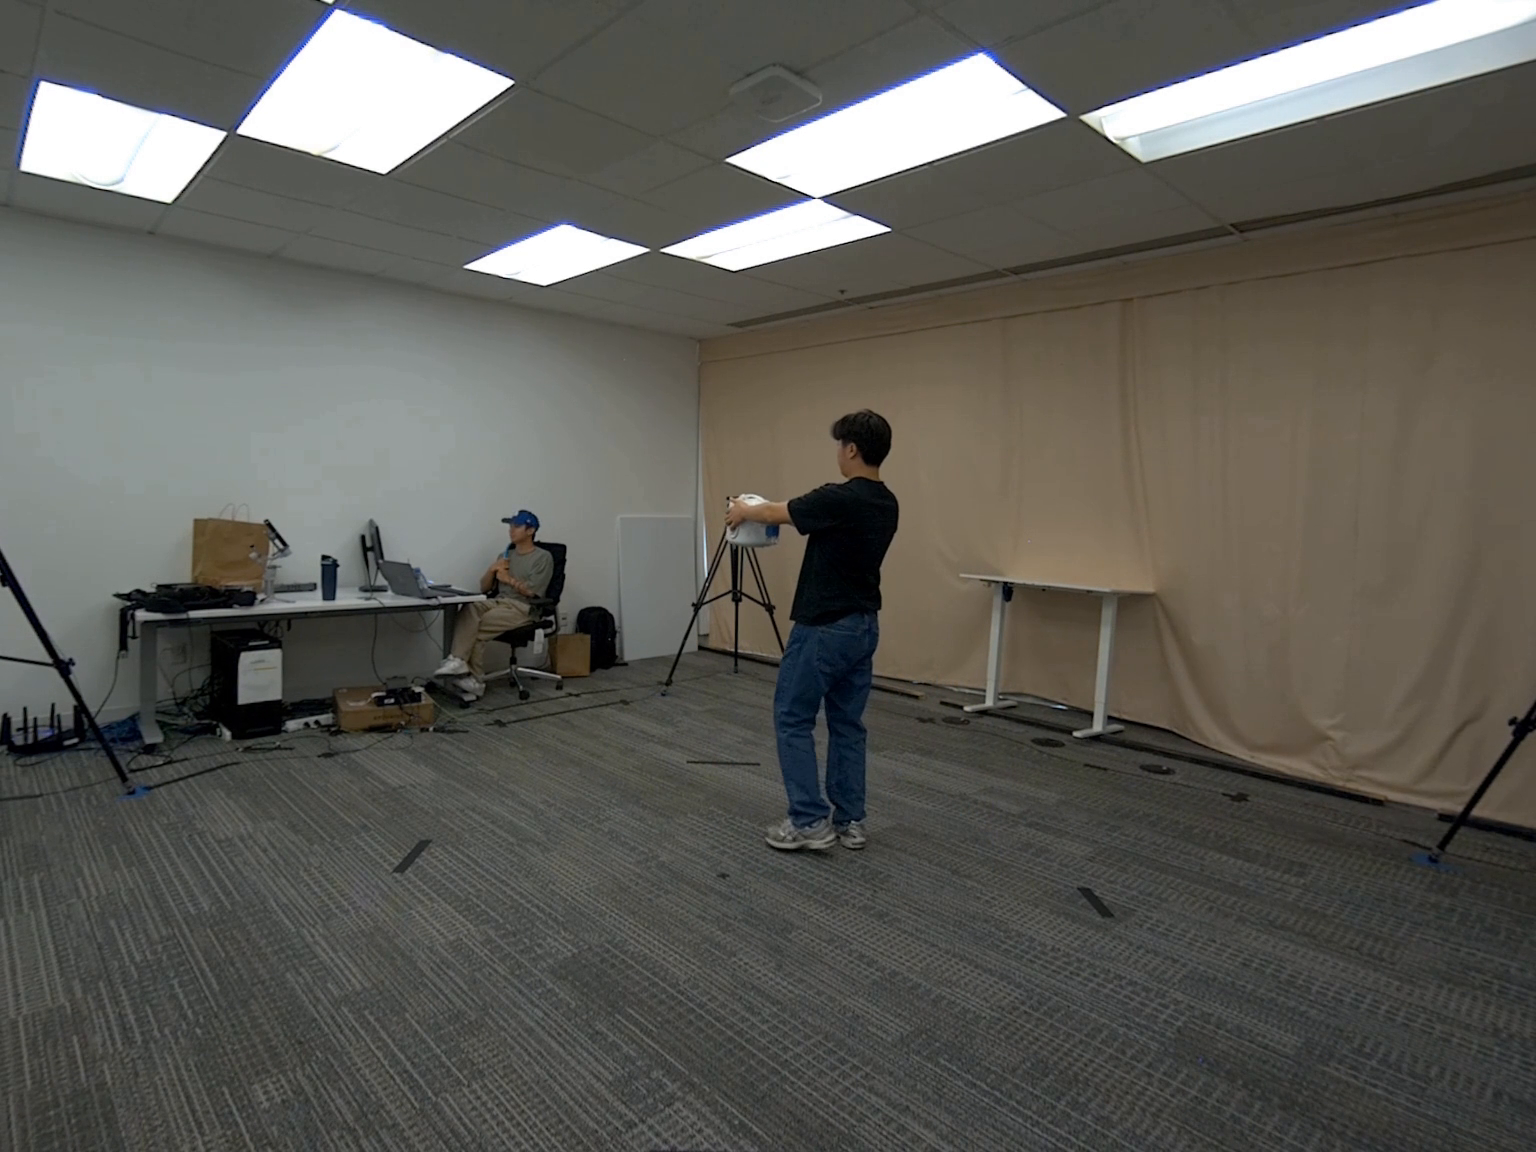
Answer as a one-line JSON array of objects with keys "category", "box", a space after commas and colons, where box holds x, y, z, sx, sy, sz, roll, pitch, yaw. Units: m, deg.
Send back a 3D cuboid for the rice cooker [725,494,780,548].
[{"category": "rice cooker", "box": [-0.084, -0.252, 3.826, 0.212, 0.232, 0.226, -4, 10, -45]}]
